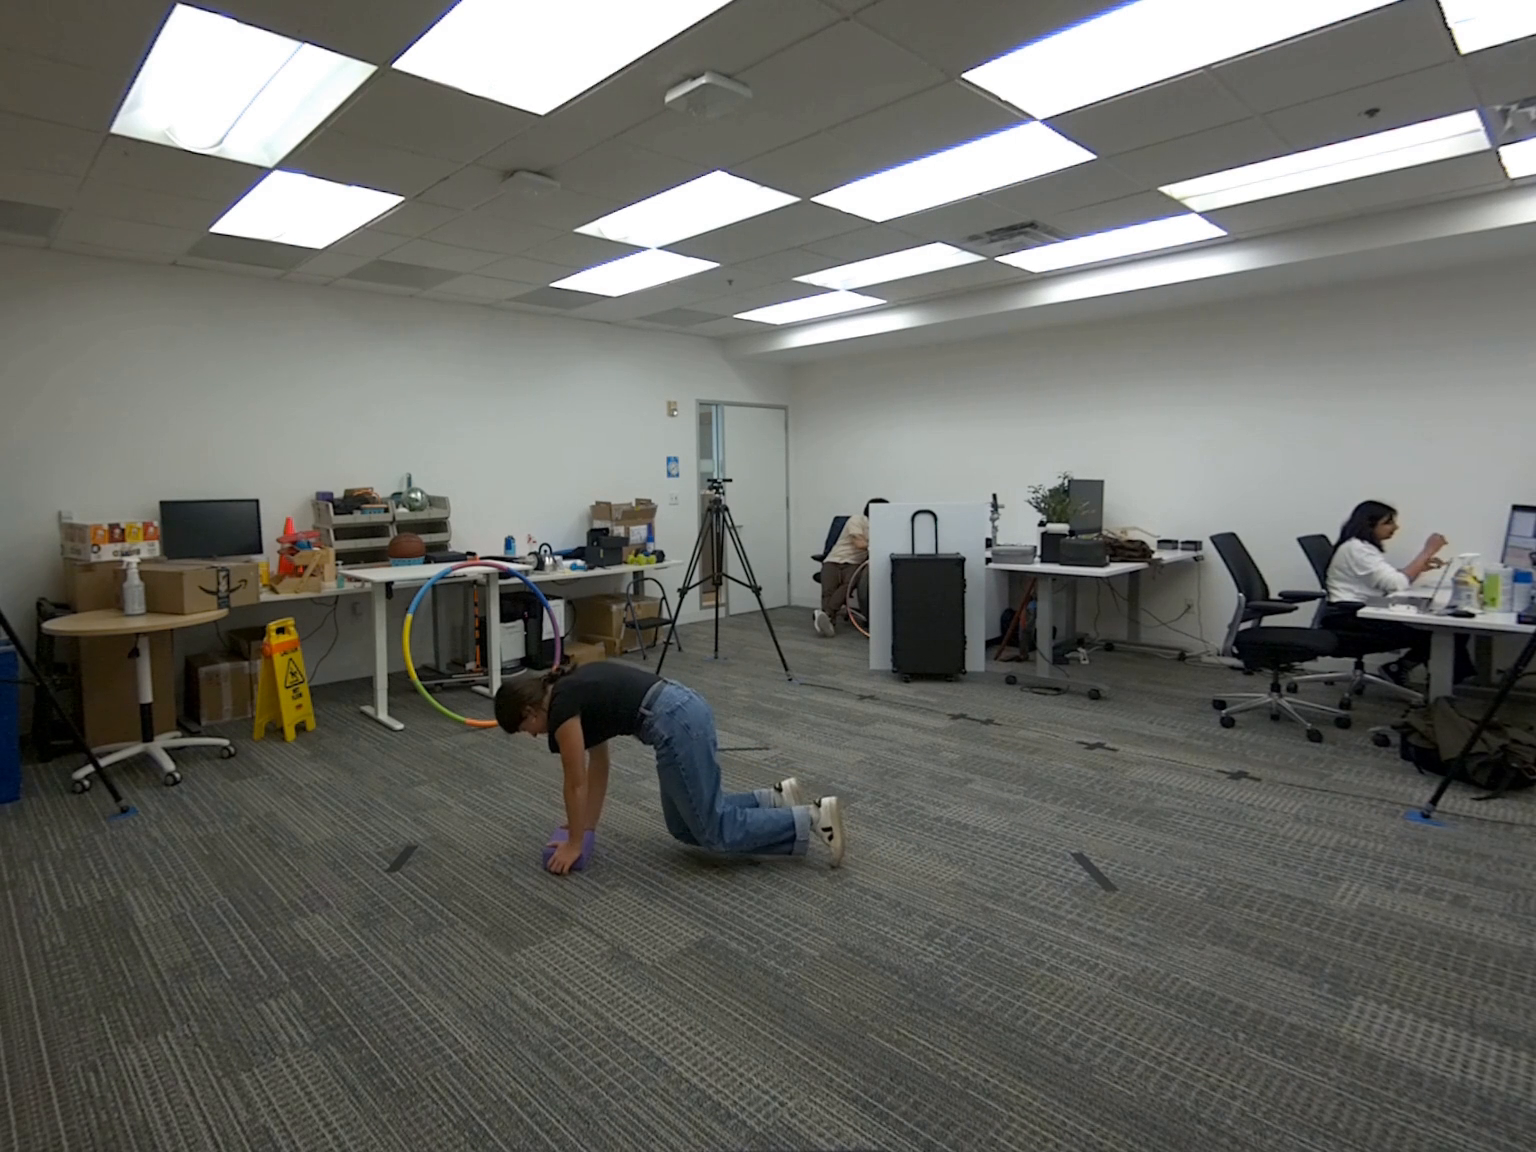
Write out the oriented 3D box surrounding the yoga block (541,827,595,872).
[{"bbox_3d":[-0.741,1.012,3.201,0.149,0.076,0.230,1,6,0],"label":"yoga block"}]
